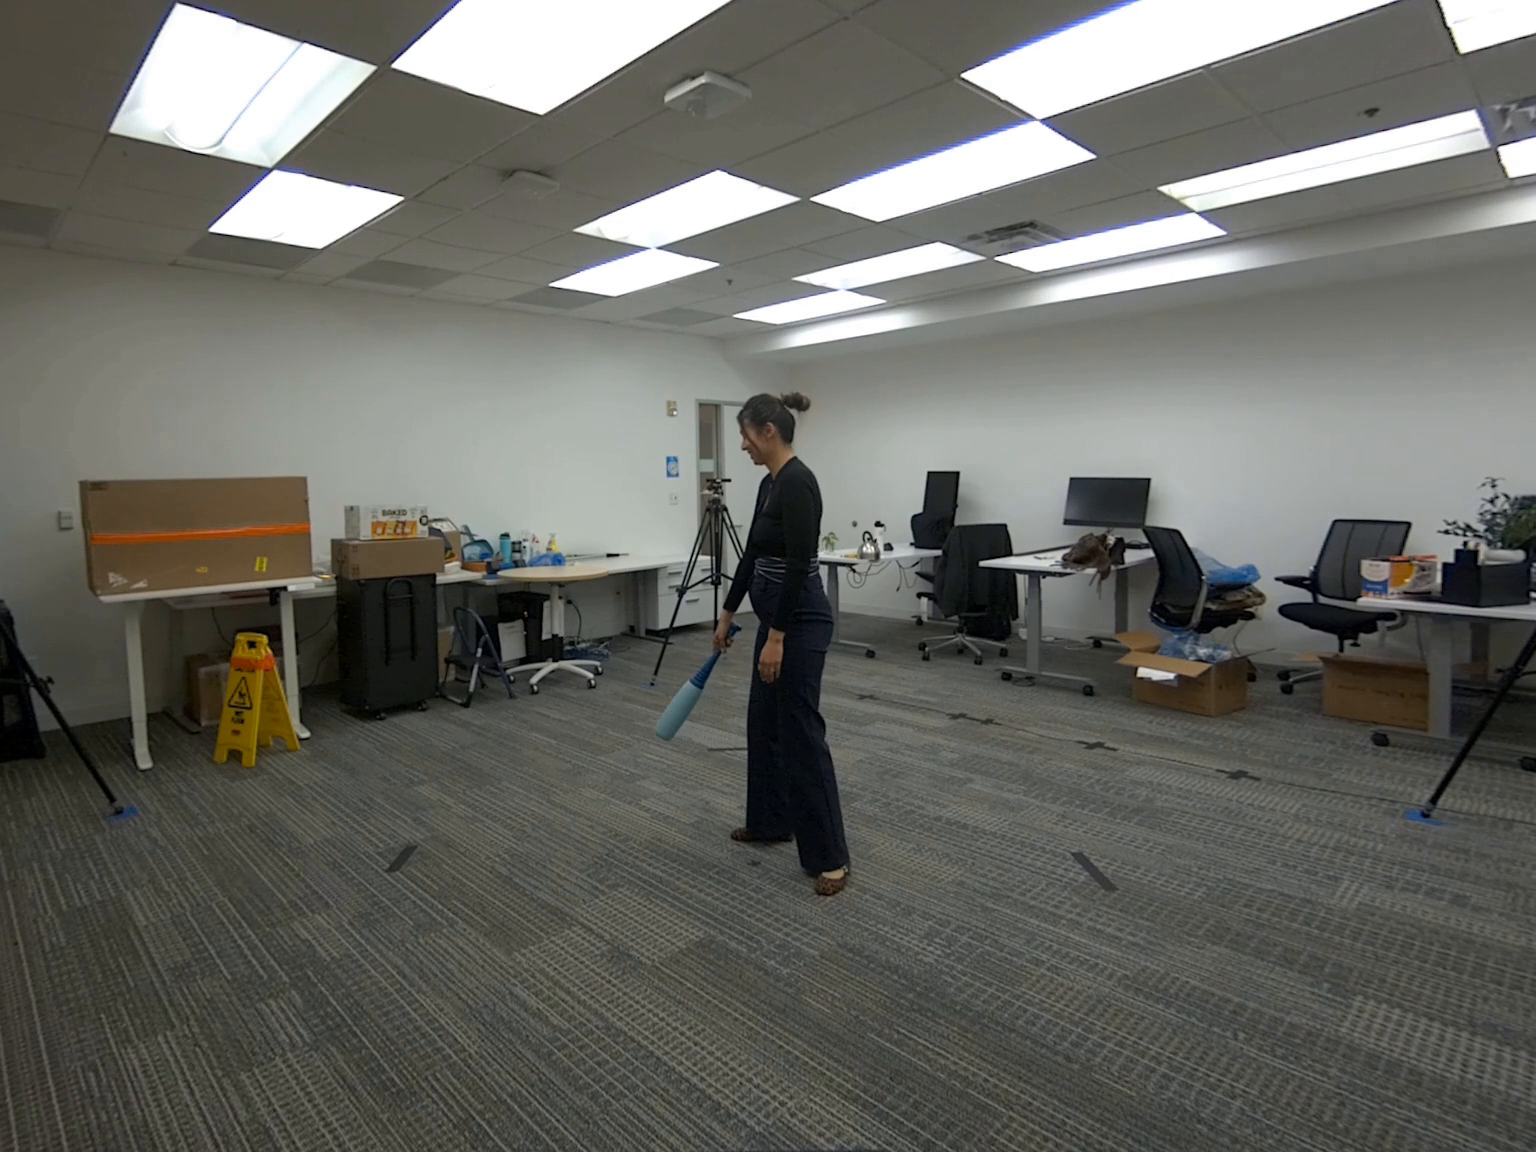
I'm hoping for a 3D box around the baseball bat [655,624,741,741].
[{"bbox_3d":[-0.262,0.415,3.349,0.089,0.542,0.089,34,3,-4],"label":"baseball bat"}]
